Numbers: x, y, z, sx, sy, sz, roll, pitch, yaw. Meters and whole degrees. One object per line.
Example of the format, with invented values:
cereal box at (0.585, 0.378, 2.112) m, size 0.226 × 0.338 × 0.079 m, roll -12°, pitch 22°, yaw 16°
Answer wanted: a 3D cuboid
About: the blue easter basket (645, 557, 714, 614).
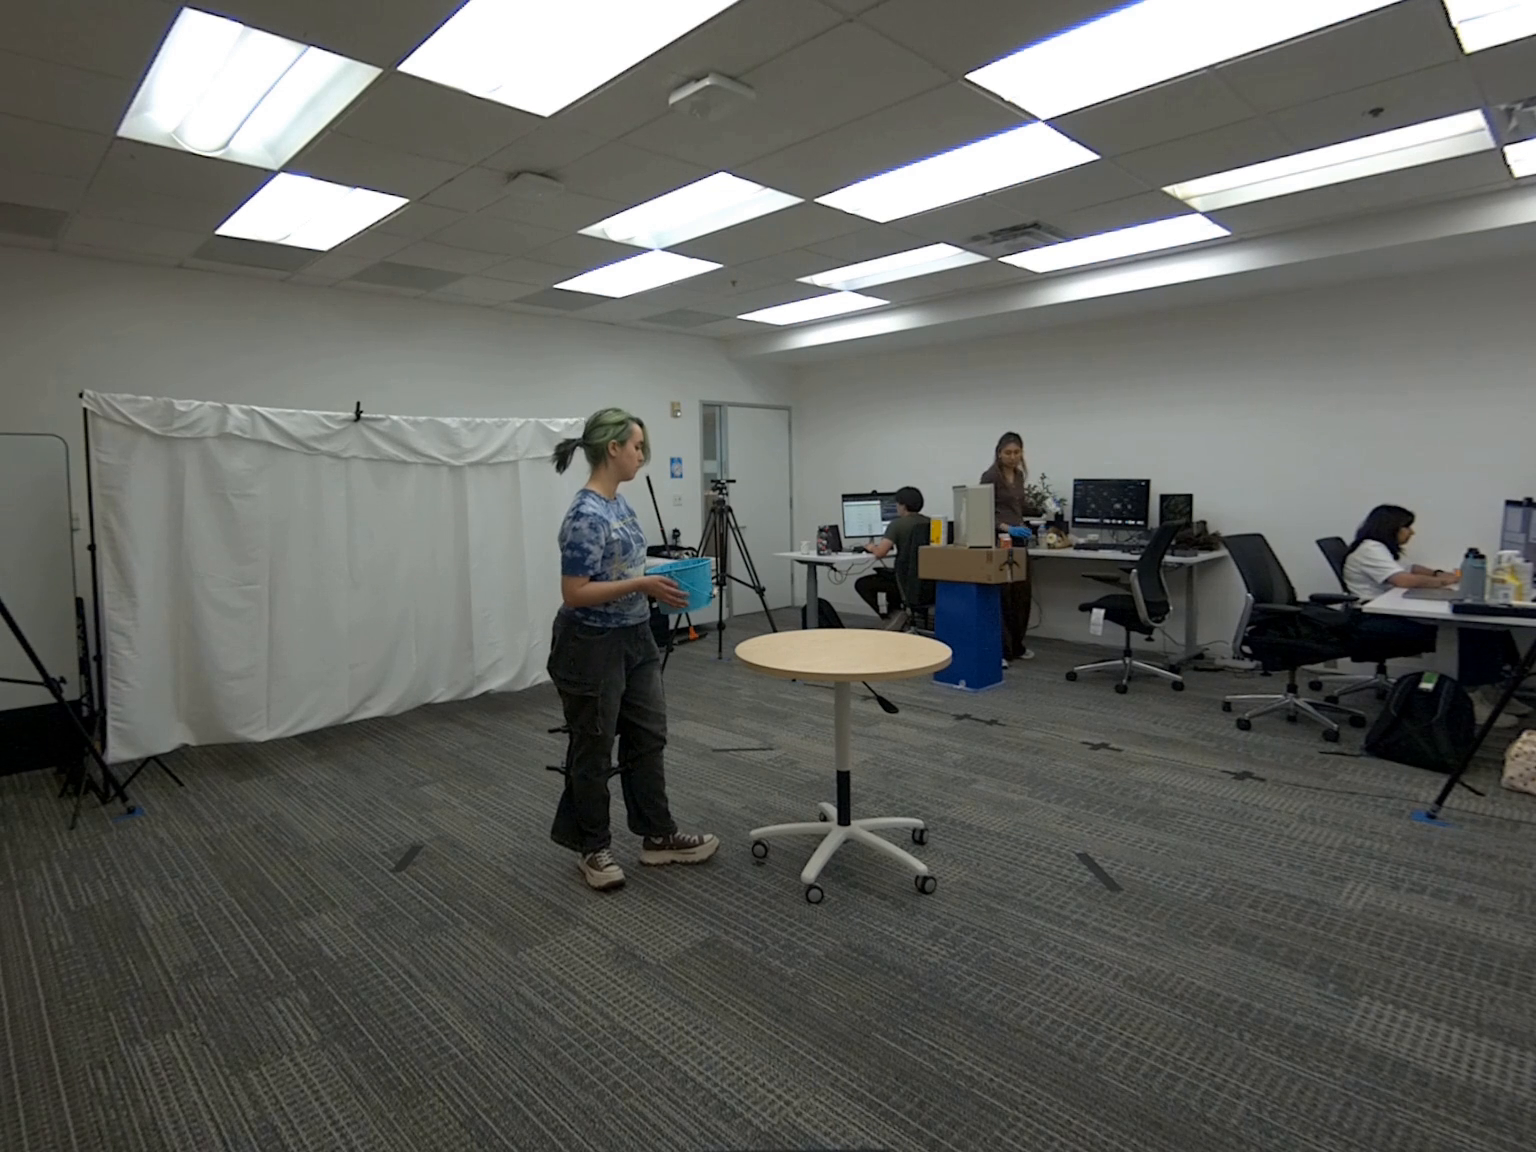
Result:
blue easter basket at (-0.321, 0.046, 2.948) m, size 0.243 × 0.155 × 0.245 m, roll -12°, pitch 6°, yaw -1°
